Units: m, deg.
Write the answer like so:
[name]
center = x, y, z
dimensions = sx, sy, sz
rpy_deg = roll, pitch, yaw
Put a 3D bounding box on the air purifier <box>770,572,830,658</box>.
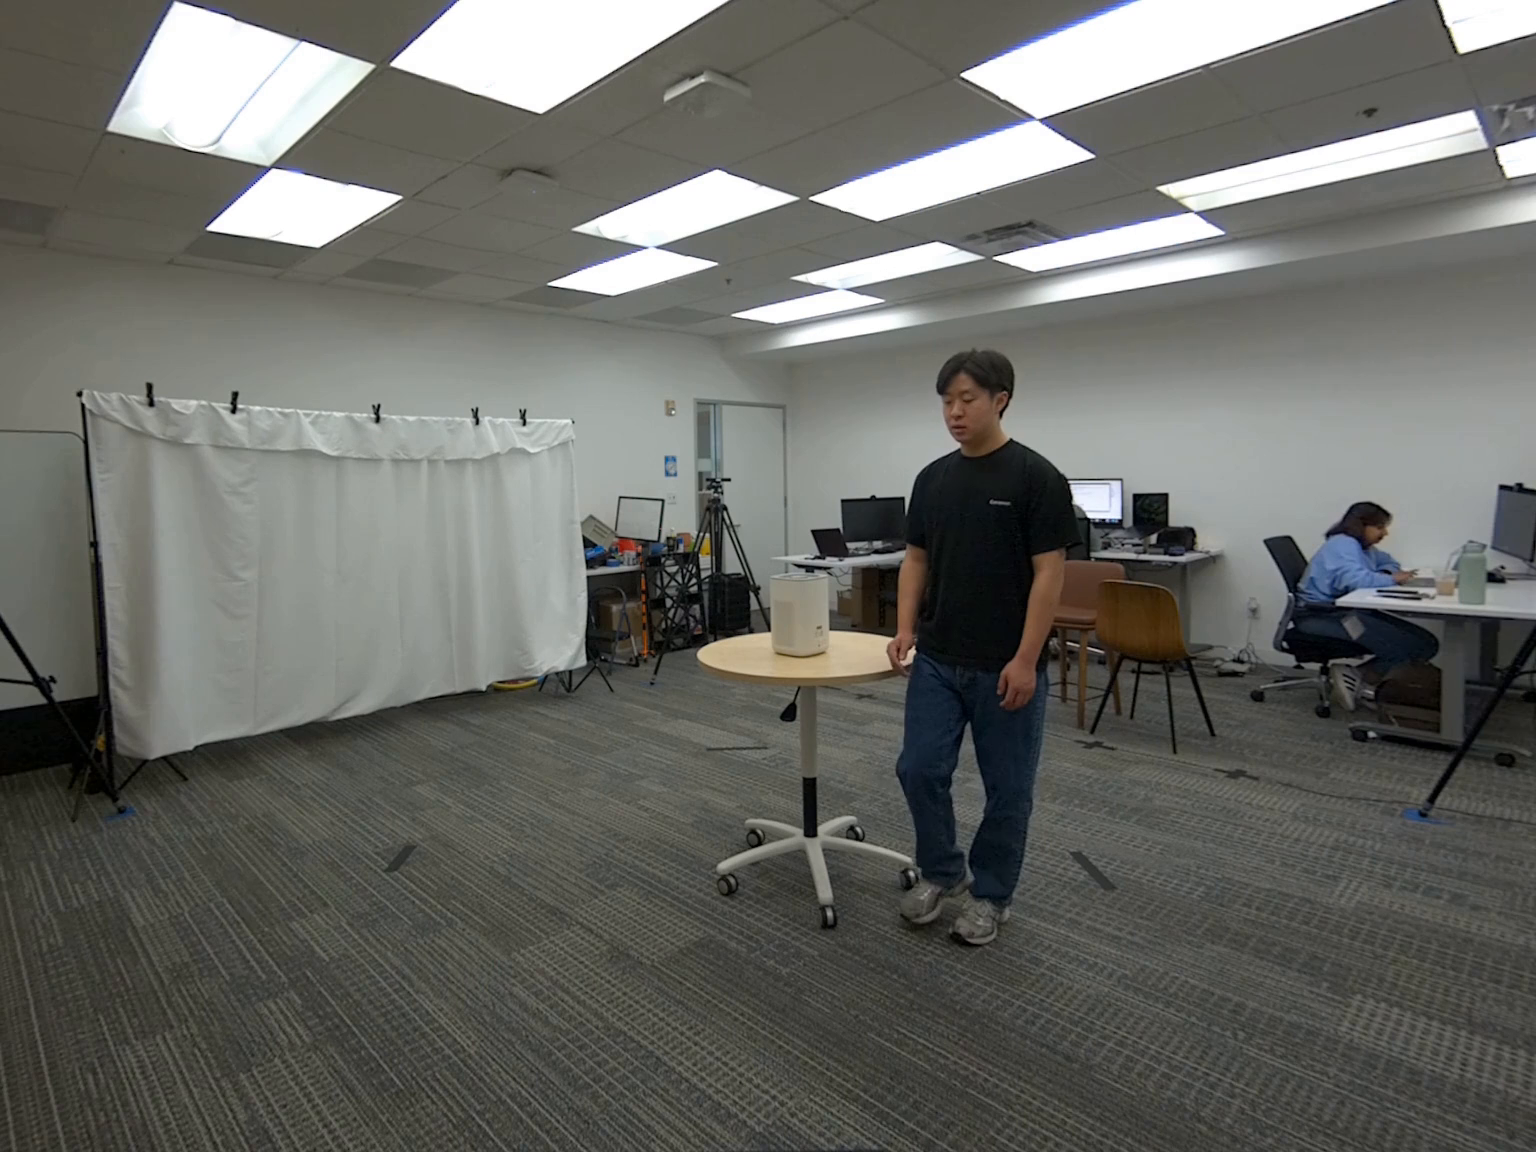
[air purifier]
center = 0.112, 0.132, 2.935
dimensions = 0.177, 0.264, 0.166
rpy_deg = 4, 6, 44
